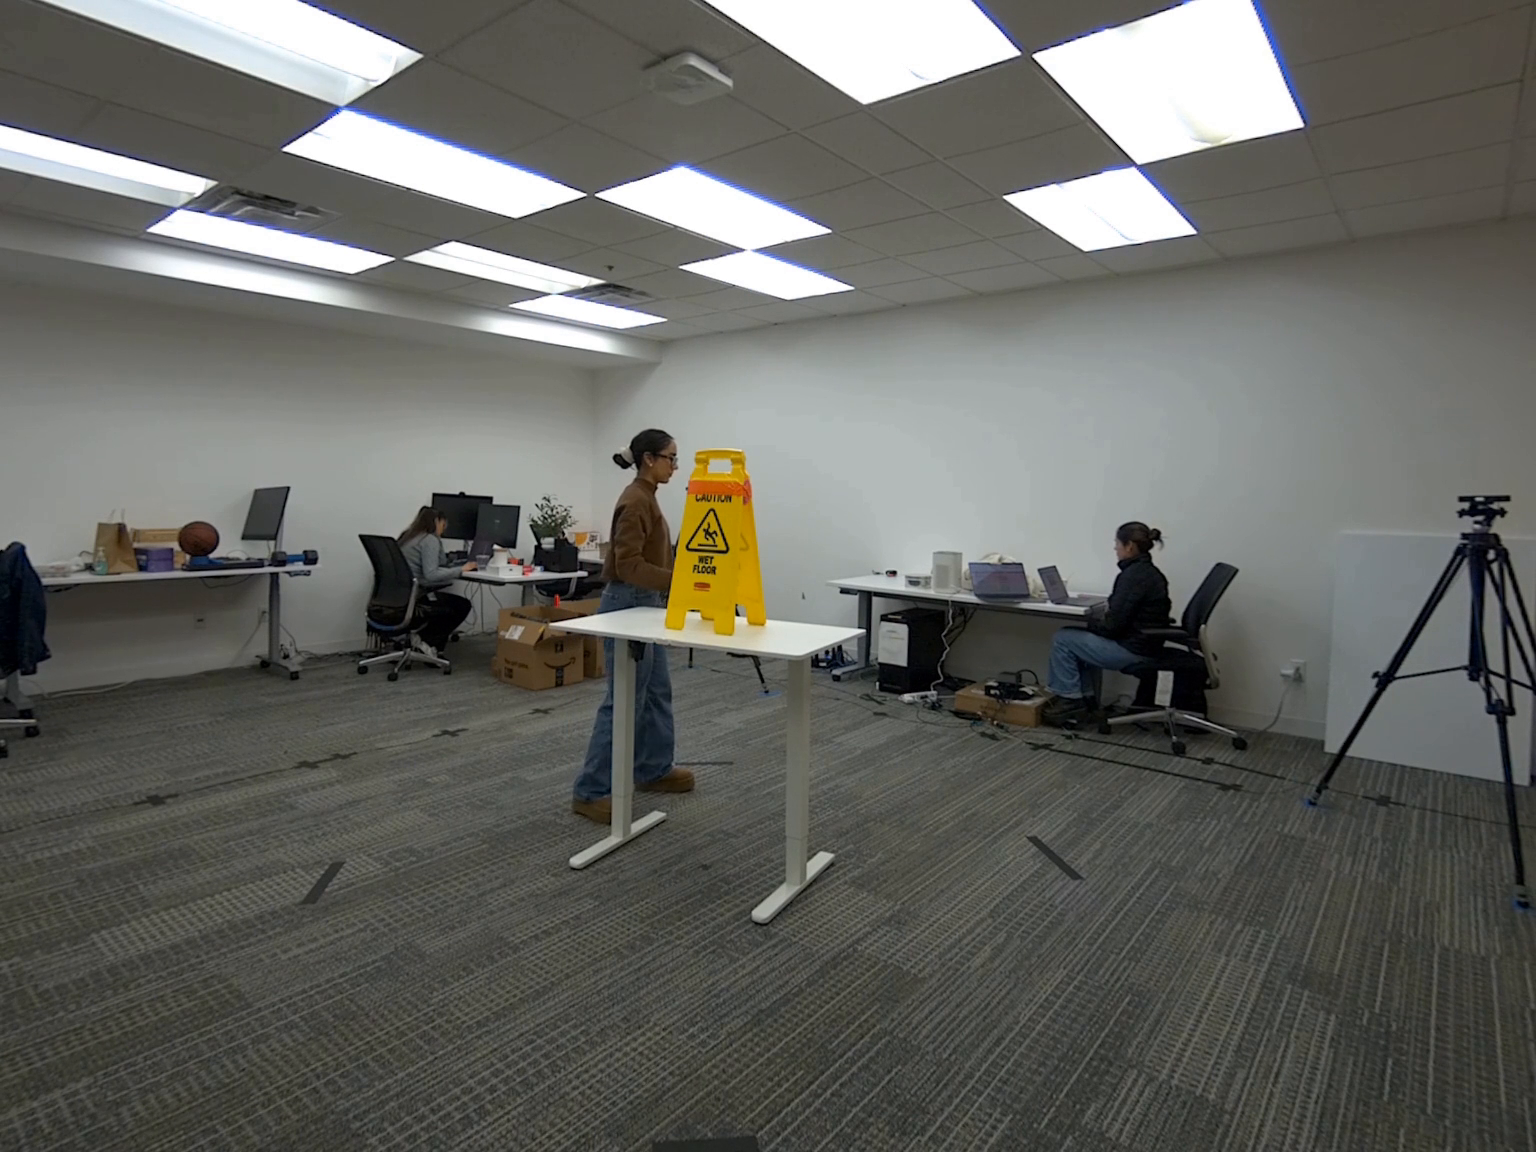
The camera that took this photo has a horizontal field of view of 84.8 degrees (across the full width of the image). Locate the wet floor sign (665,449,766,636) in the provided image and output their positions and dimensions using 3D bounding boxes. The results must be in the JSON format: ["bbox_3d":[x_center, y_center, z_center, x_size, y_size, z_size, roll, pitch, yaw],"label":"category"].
[{"bbox_3d":[-0.196,-0.137,3.099,0.290,0.644,0.283,2,4,27],"label":"wet floor sign"}]
